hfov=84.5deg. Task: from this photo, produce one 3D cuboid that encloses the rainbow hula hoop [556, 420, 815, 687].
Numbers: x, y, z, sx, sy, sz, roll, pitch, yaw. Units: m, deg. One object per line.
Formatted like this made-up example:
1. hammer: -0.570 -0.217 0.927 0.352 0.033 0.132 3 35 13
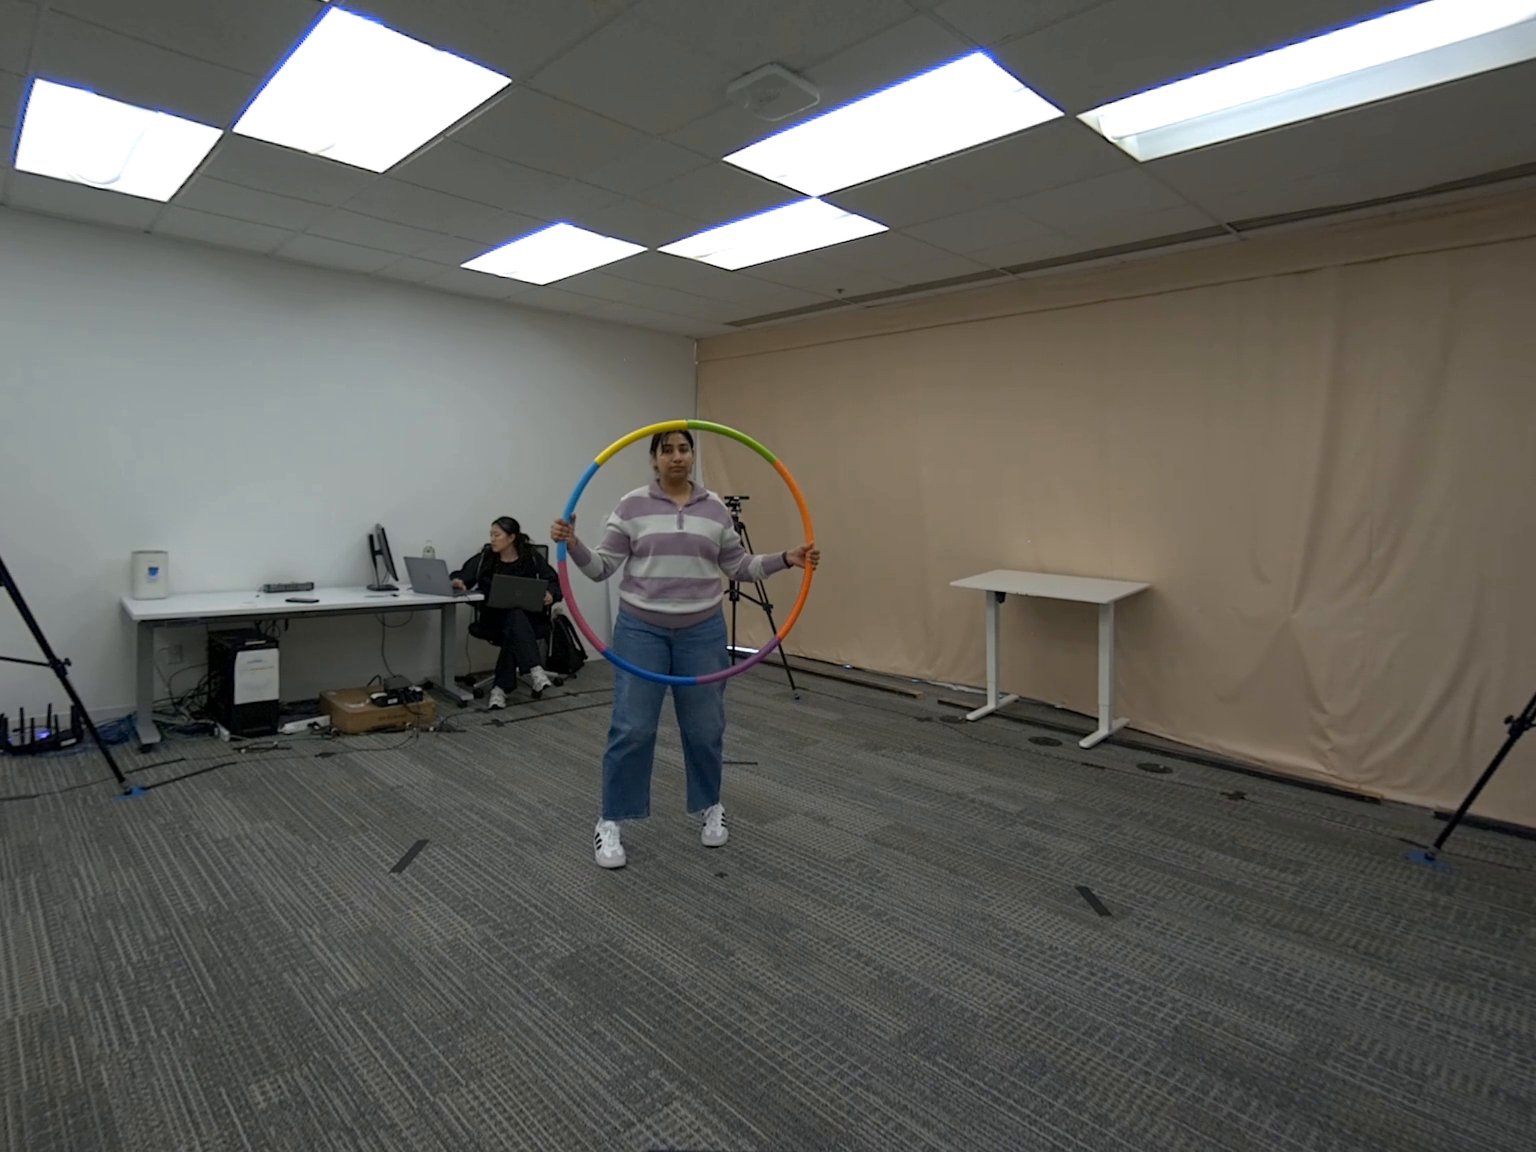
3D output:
1. rainbow hula hoop: -0.284 -0.085 3.134 0.966 0.978 0.036 0 0 -17
